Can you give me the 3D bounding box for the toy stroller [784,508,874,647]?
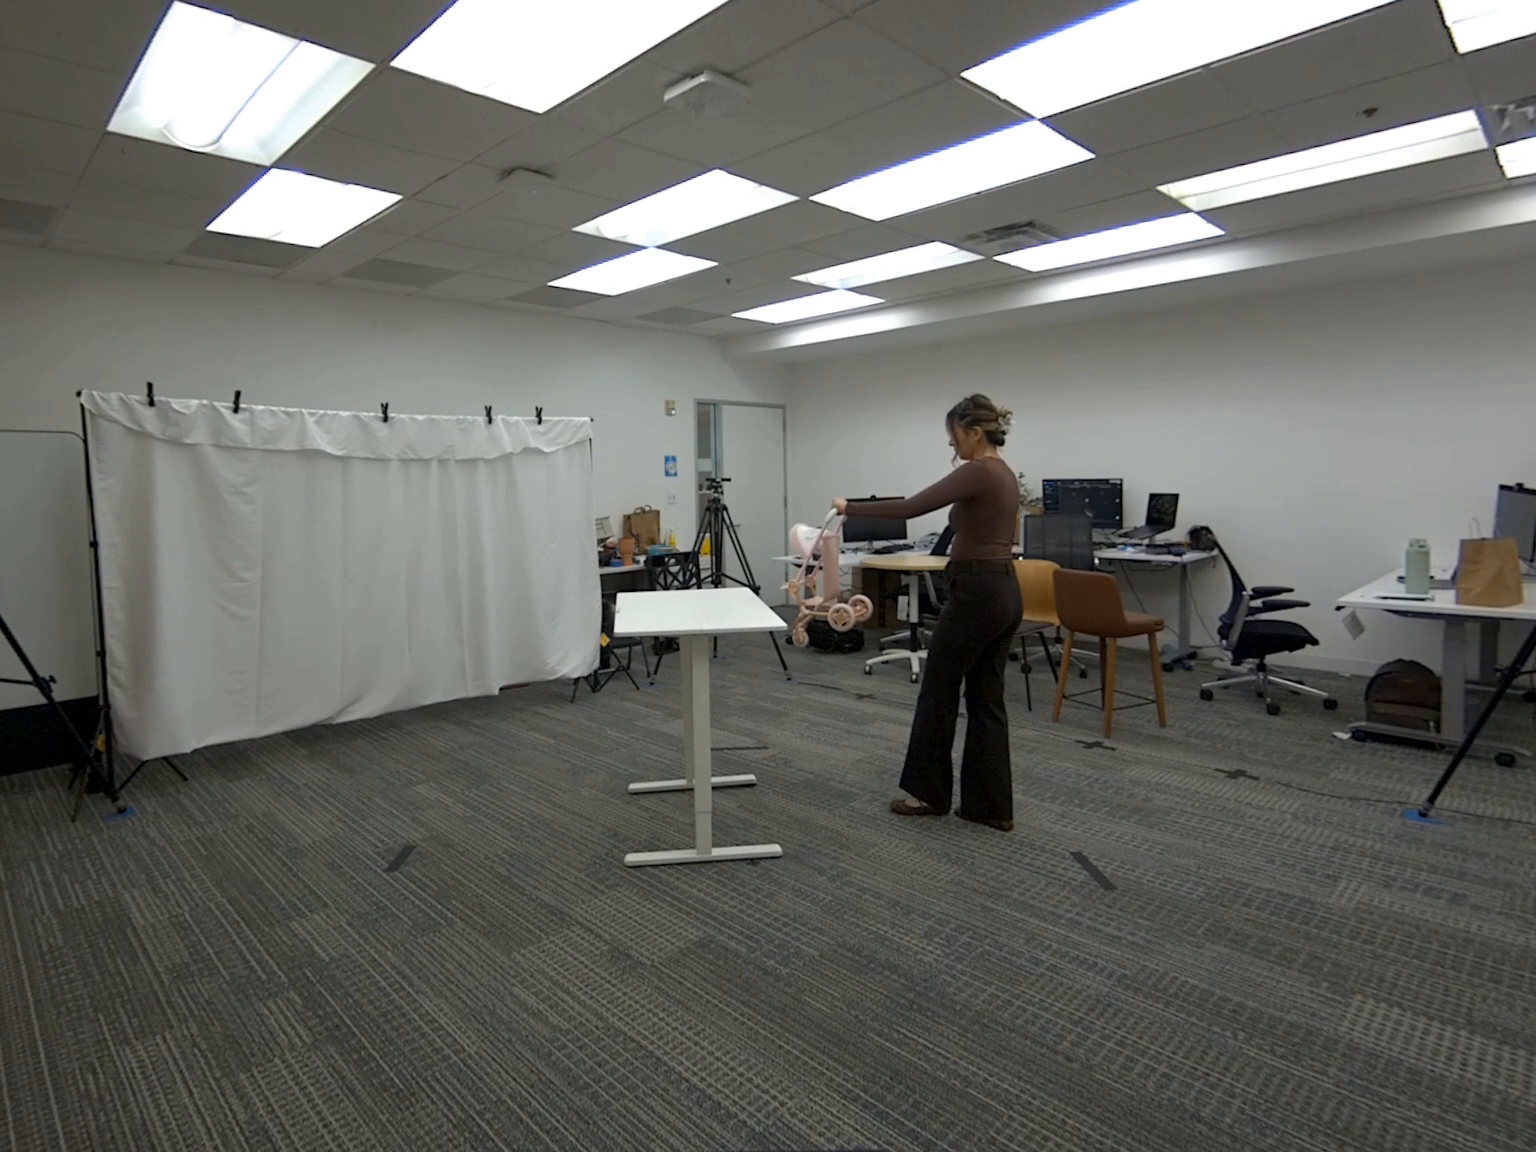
[{"bbox_3d":[0.214,0.014,3.503,0.348,0.536,0.275,-11,-1,29],"label":"toy stroller"}]
